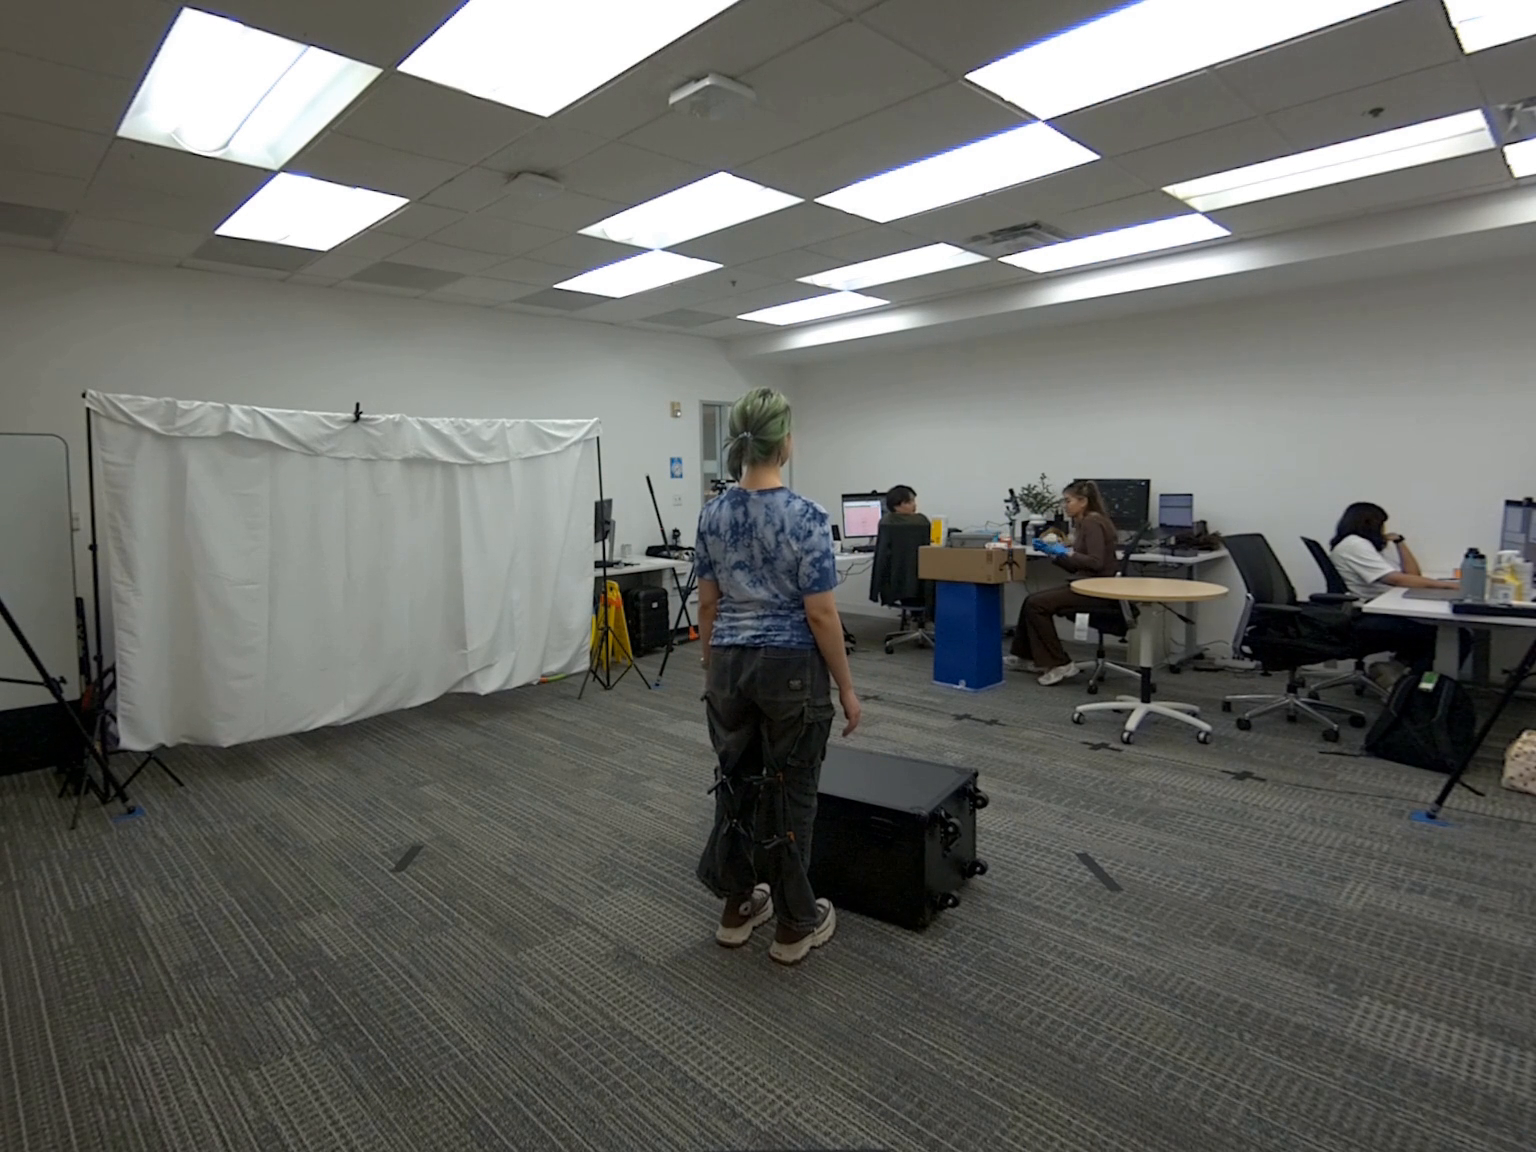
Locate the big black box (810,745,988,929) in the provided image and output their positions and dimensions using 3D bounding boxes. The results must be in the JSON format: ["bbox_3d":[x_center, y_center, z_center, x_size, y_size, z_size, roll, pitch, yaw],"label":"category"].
[{"bbox_3d":[0.302,0.865,2.984,0.886,0.395,0.509,2,6,34],"label":"big black box"}]
